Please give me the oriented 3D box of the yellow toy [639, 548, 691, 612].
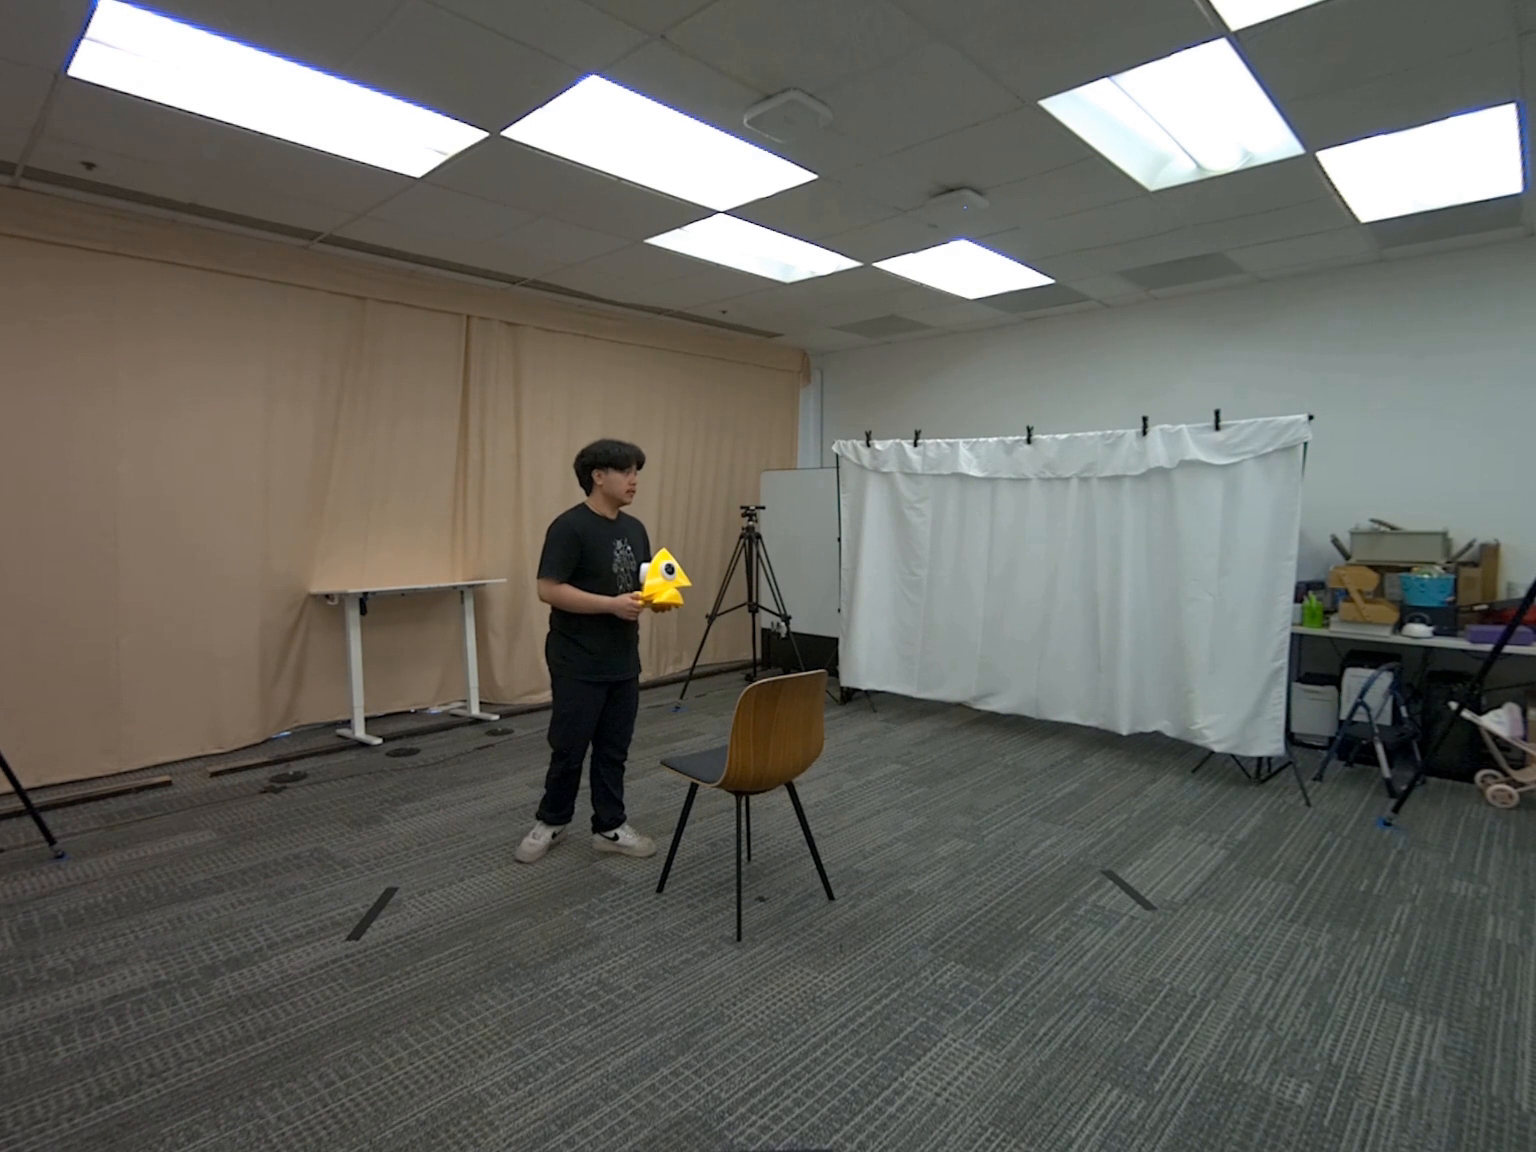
[{"bbox_3d":[-0.429,-0.003,3.206,0.209,0.232,0.187,-5,-11,23],"label":"yellow toy"}]
